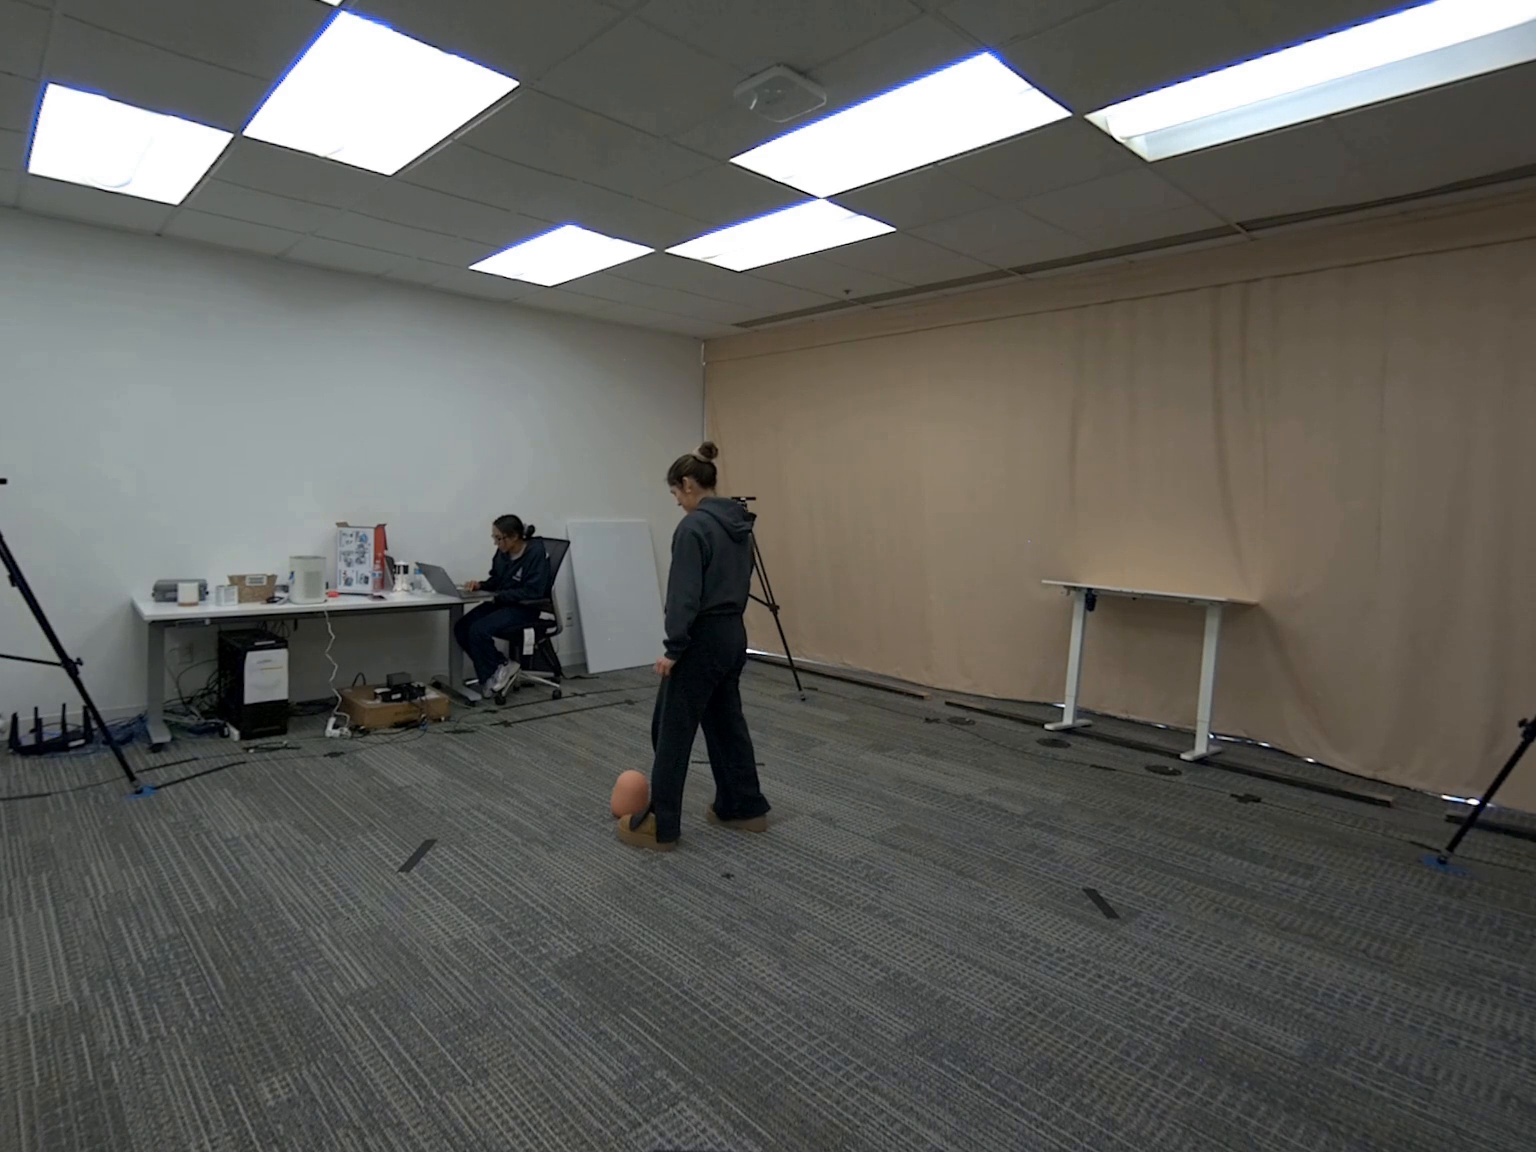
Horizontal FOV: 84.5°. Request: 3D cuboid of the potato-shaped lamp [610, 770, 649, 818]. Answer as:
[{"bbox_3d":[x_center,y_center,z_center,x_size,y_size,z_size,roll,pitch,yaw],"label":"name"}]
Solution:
[{"bbox_3d":[-0.610,0.942,3.682,0.161,0.197,0.176,-1,9,-35],"label":"potato-shaped lamp"}]
